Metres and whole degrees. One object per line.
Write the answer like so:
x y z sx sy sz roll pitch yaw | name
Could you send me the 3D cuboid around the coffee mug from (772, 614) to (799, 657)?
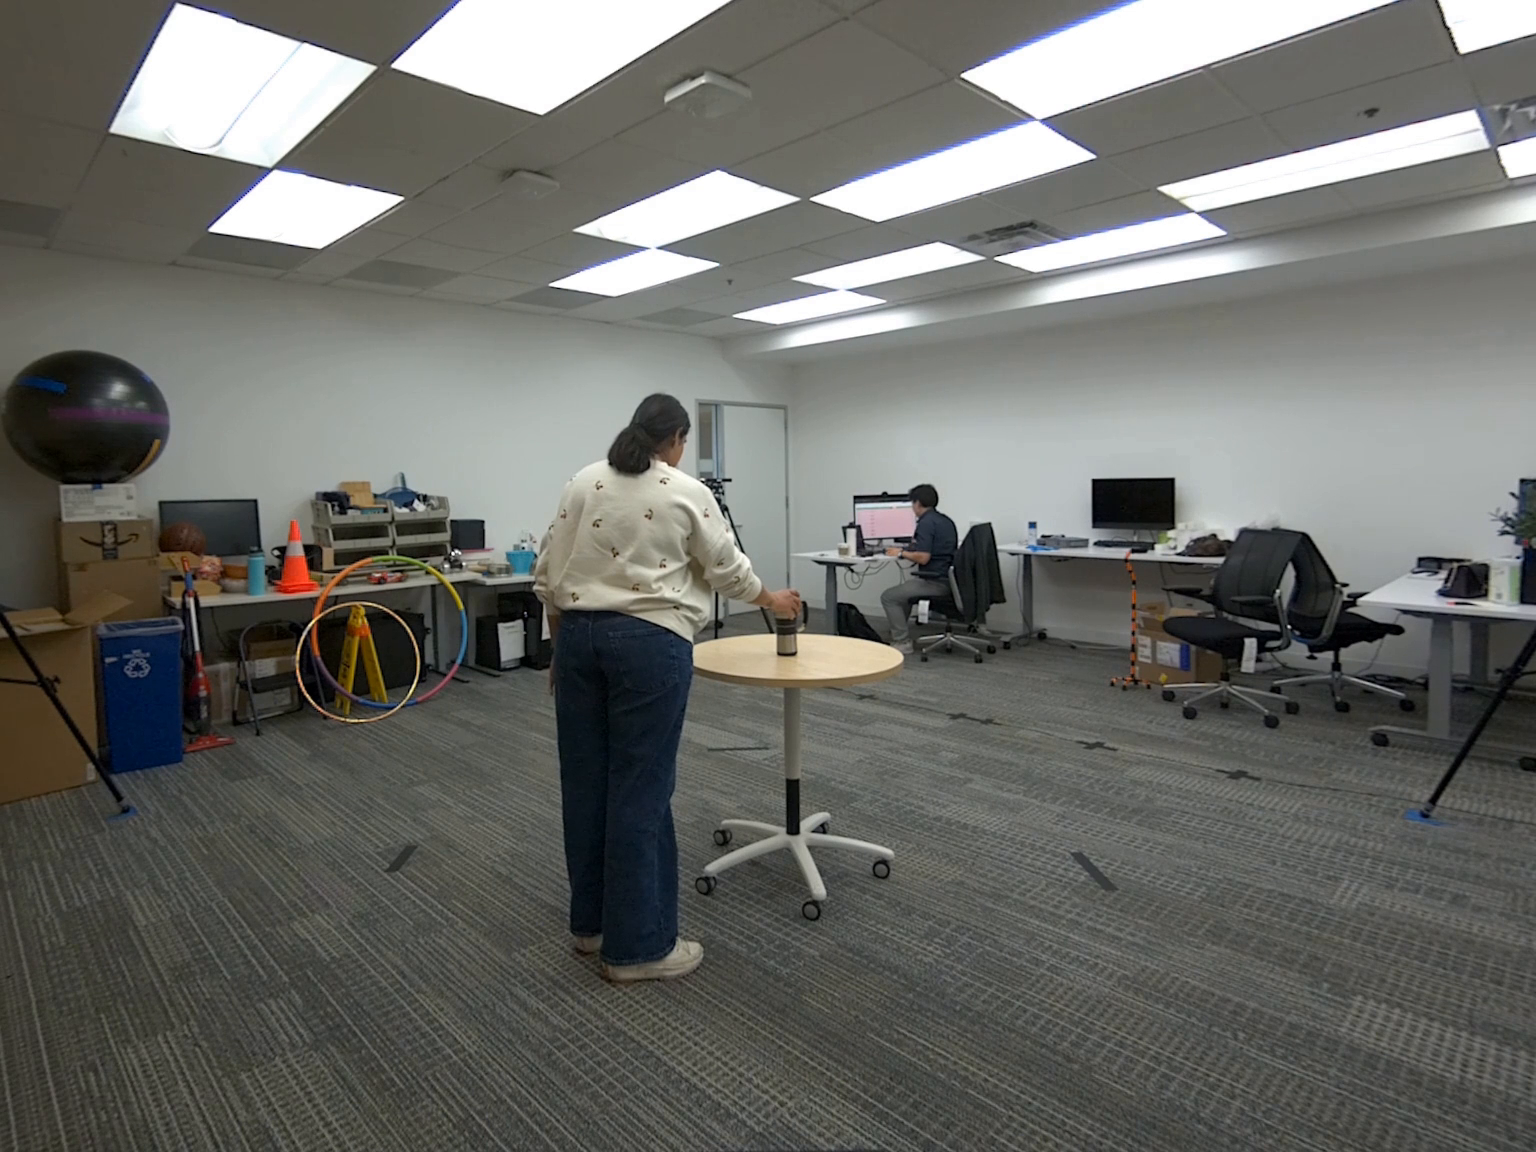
0.090 0.179 2.947 0.125 0.202 0.085 -1 3 41 | coffee mug
